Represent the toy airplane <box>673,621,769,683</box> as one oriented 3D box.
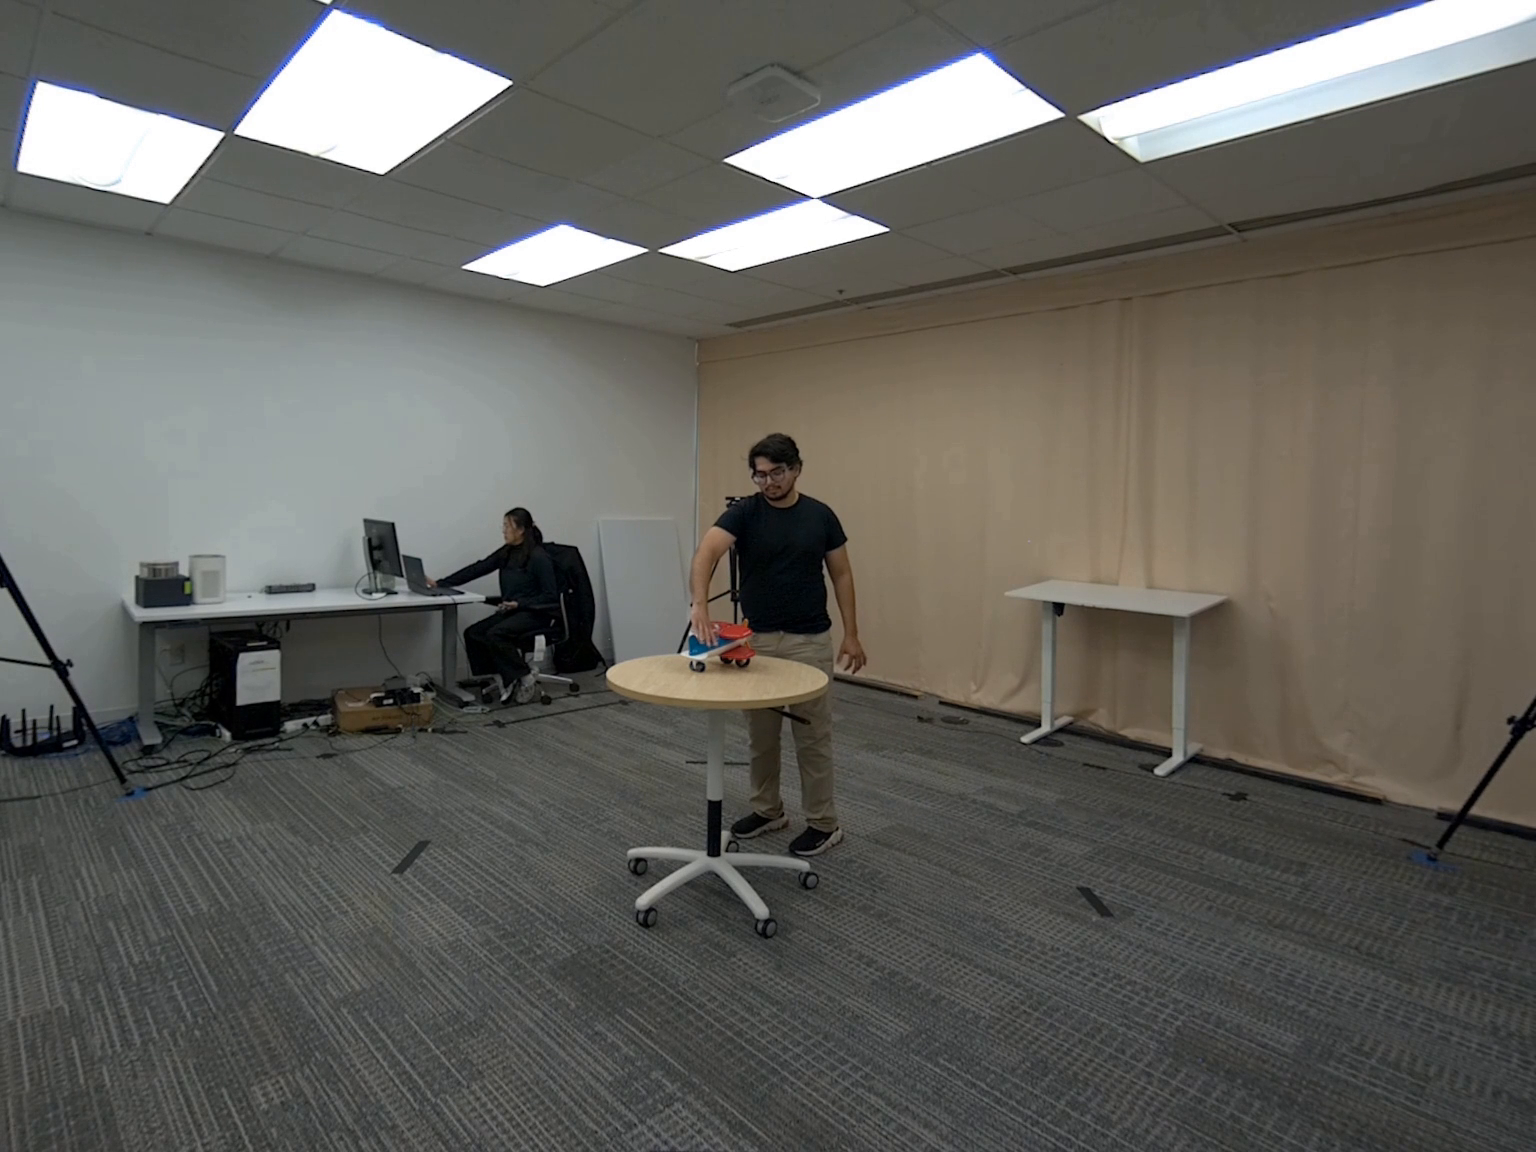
[{"bbox_3d":[-0.162,0.259,2.989,0.255,0.156,0.255,4,4,20],"label":"toy airplane"}]
